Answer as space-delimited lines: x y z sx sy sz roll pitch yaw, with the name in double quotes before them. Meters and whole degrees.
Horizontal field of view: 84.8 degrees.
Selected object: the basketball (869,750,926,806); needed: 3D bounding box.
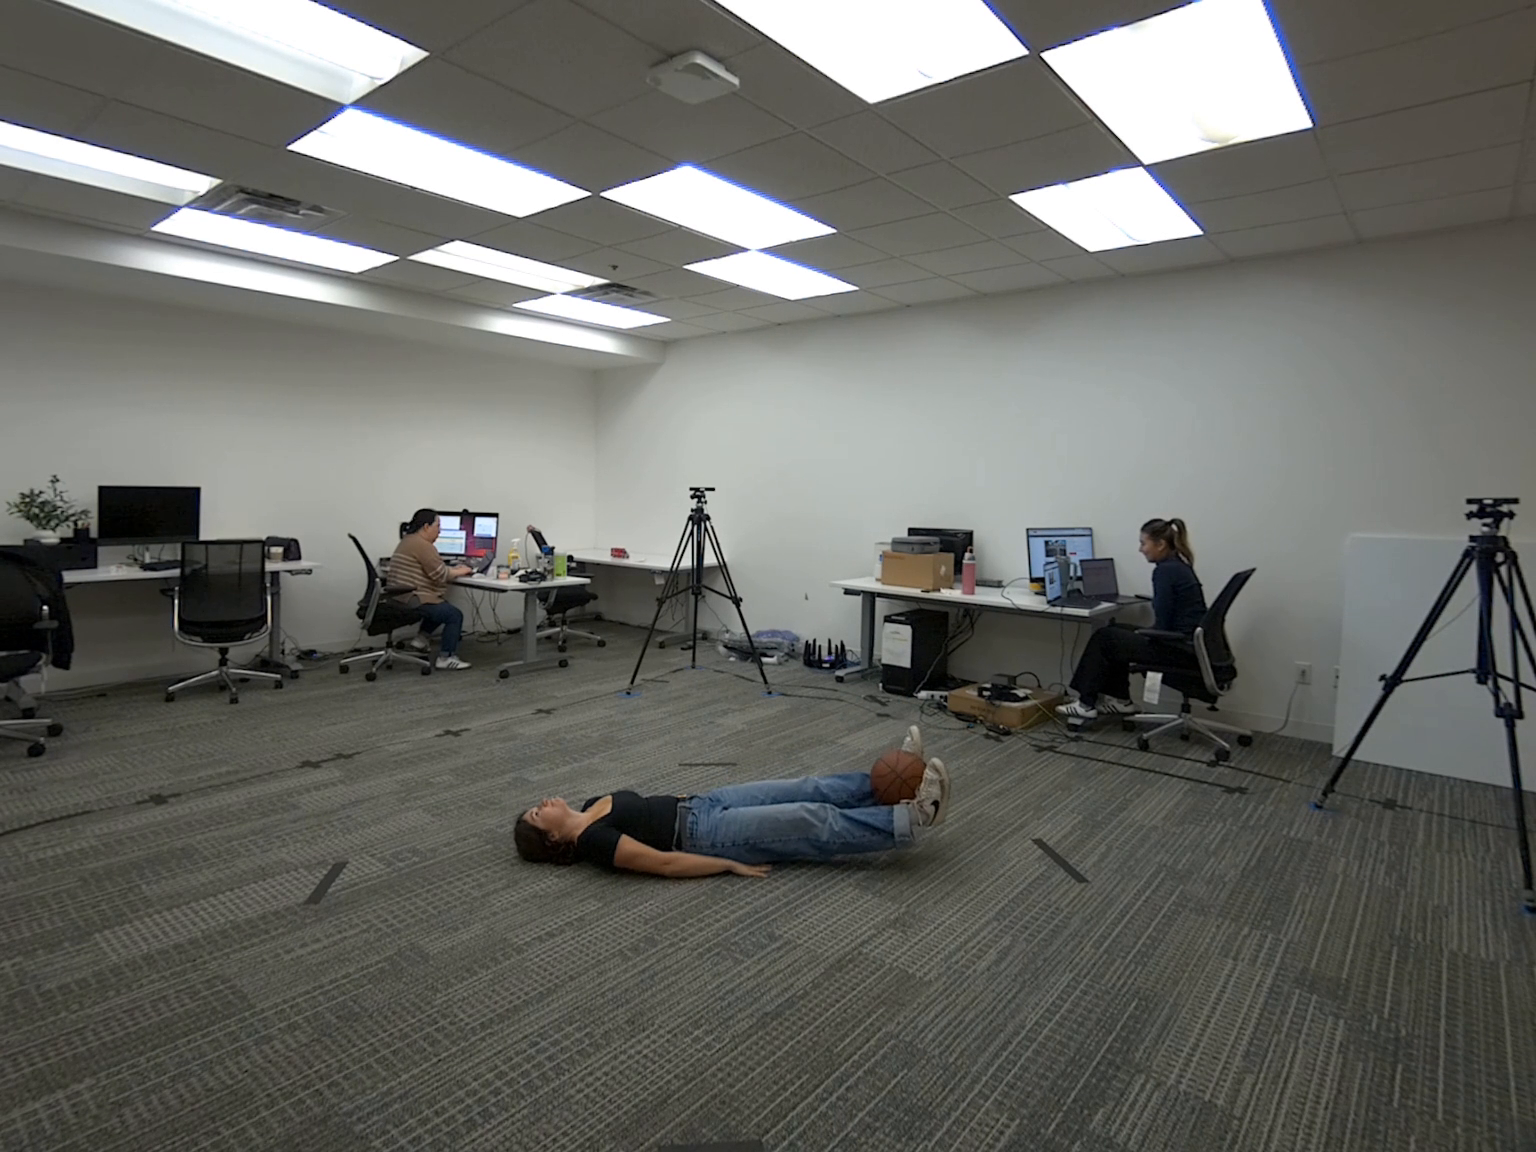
"basketball" 0.509 0.789 3.308 0.235 0.235 0.237 1 4 -2
